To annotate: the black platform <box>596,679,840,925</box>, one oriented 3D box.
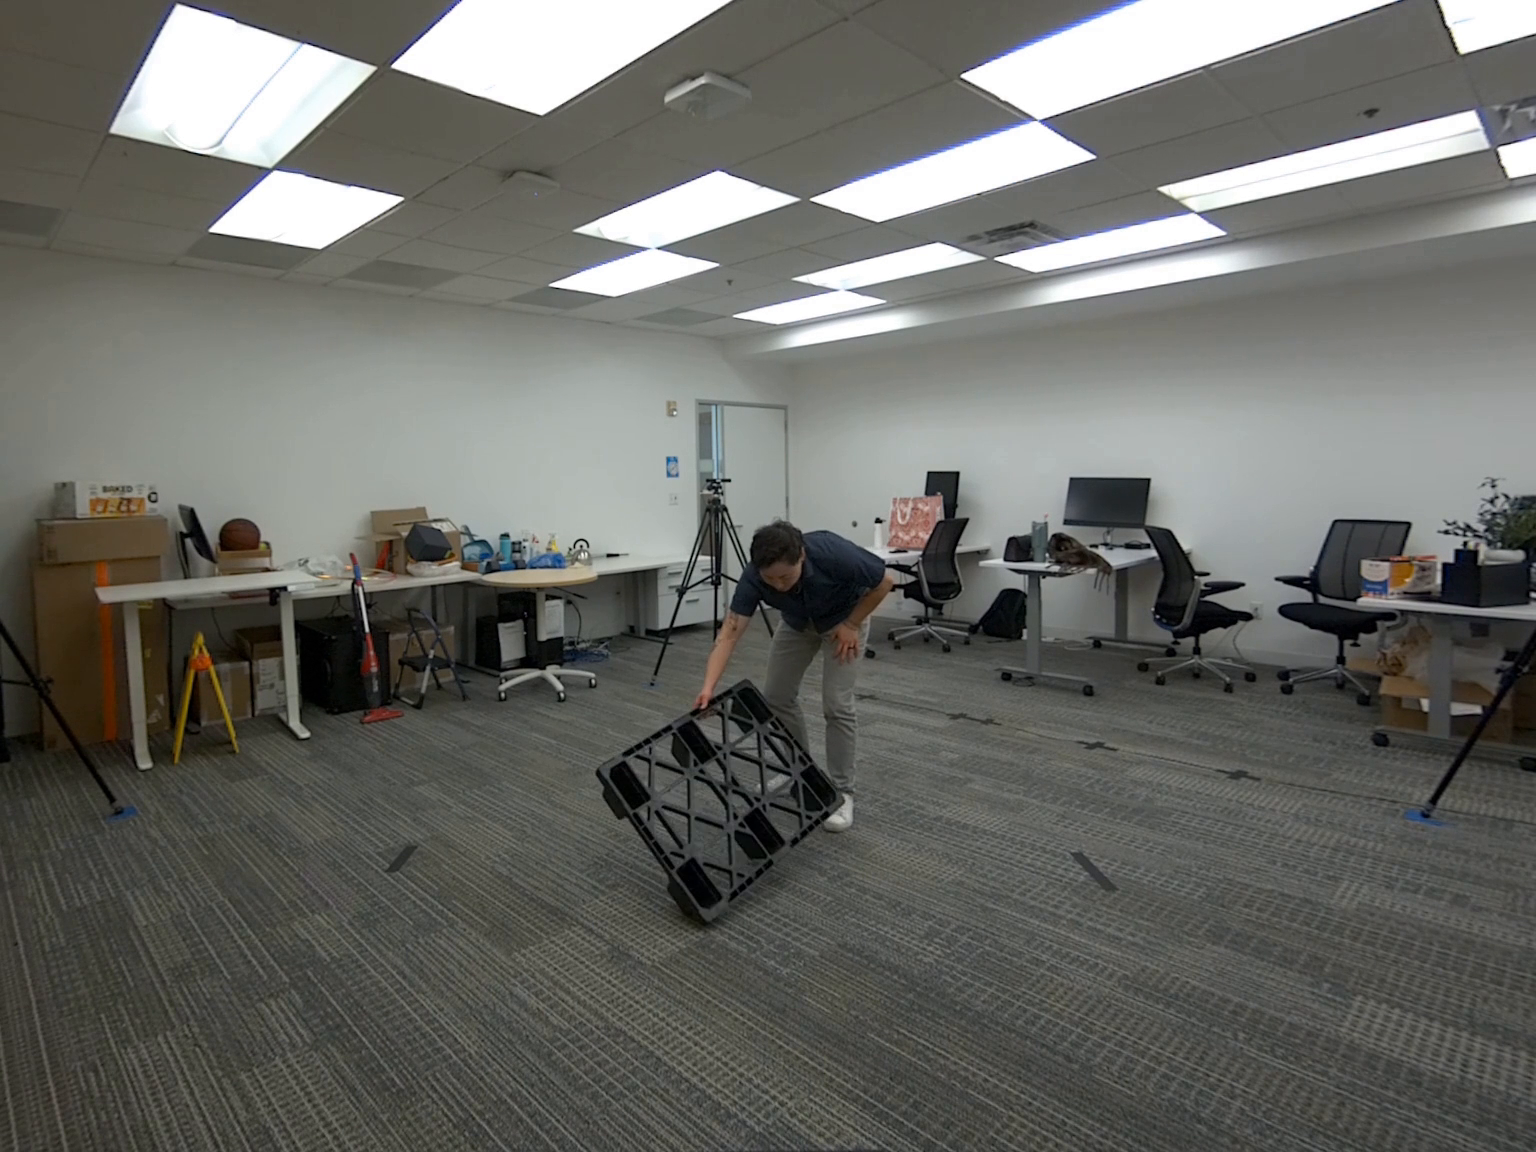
[{"bbox_3d":[-0.168,0.774,3.053,0.792,0.619,0.142,-23,-24,-47],"label":"black platform"}]
